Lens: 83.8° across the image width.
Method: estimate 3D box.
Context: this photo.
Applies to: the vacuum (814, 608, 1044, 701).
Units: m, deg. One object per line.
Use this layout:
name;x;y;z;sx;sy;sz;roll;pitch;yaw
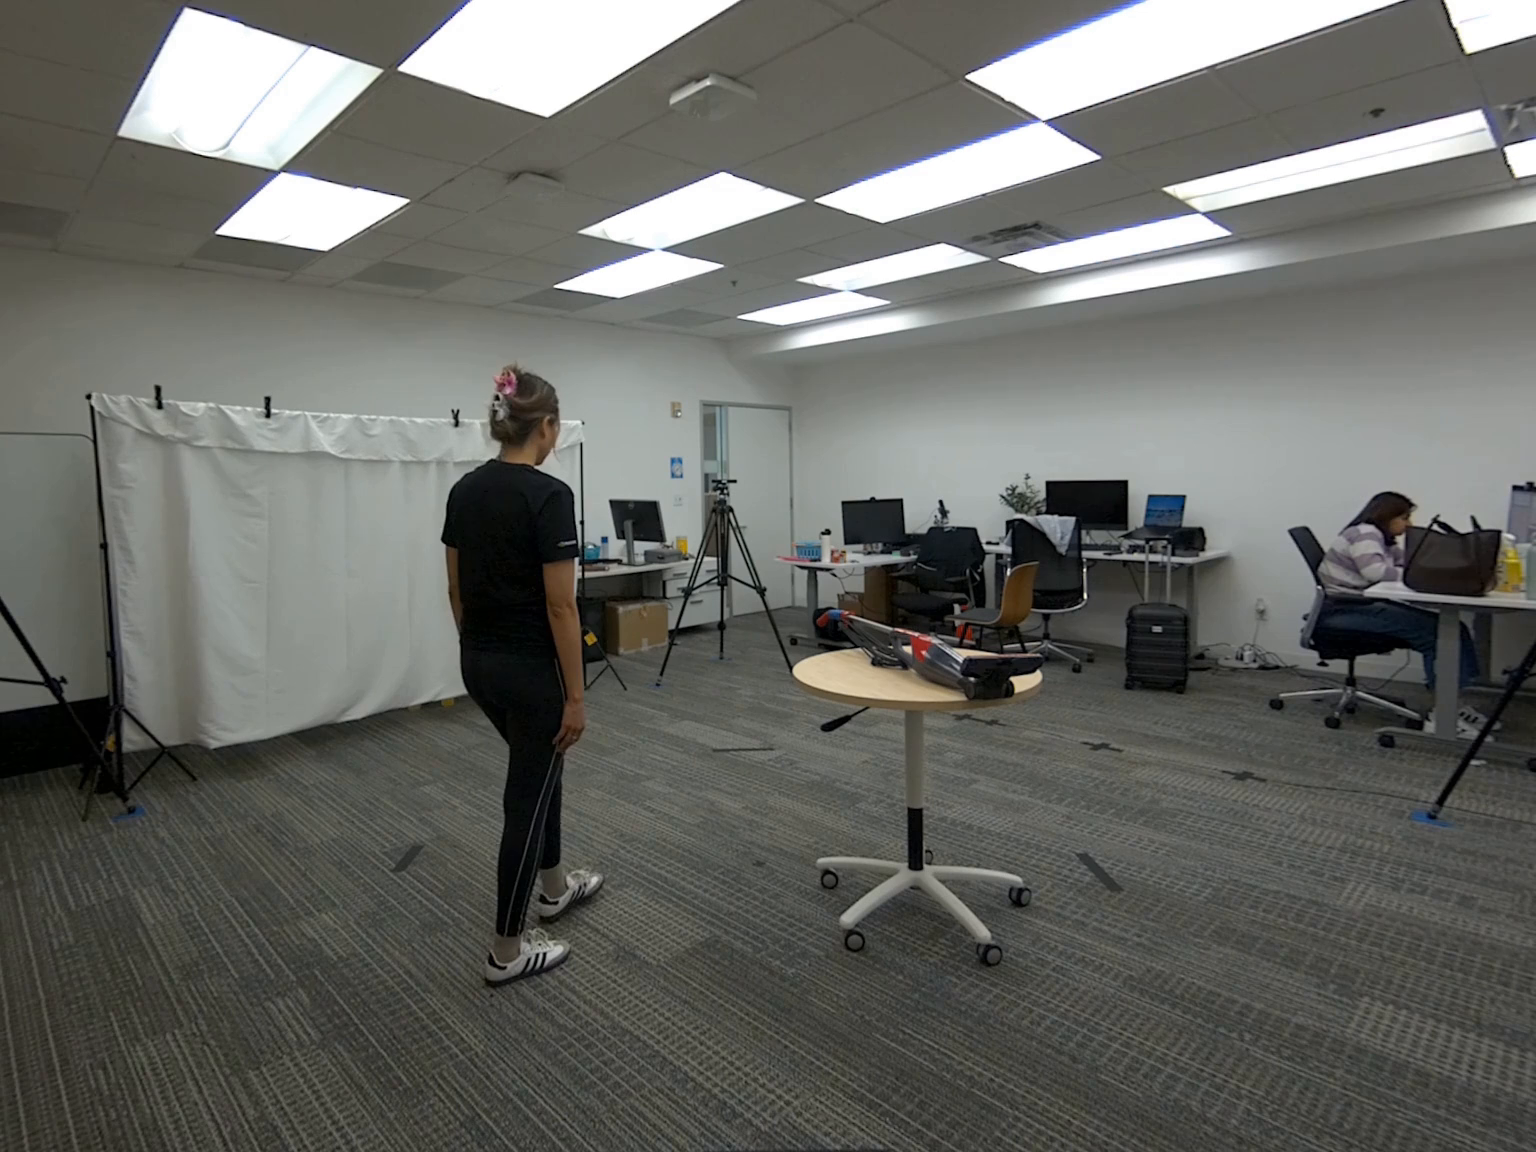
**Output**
vacuum;0.405;0.239;2.785;0.247;0.144;1.074;2;4;-24
